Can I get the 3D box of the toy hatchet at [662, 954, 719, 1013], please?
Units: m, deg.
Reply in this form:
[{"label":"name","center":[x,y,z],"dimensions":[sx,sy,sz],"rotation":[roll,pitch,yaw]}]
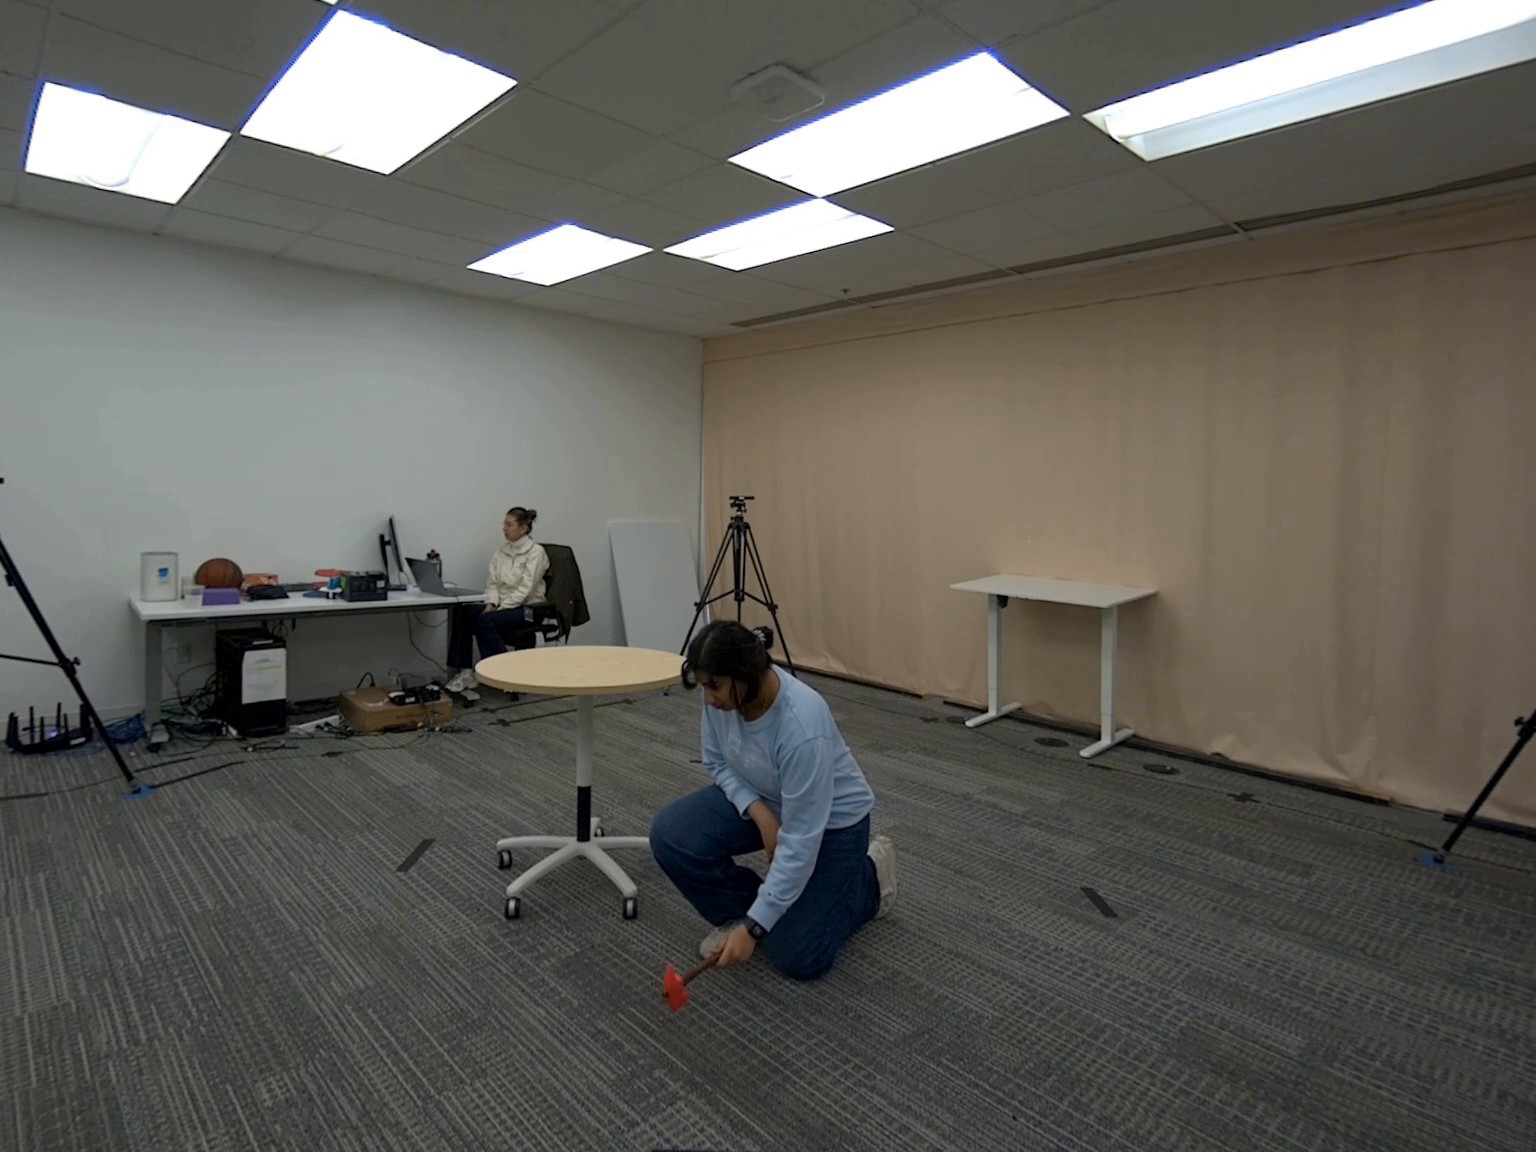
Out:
[{"label":"toy hatchet","center":[-0.176,1.022,2.114],"dimensions":[0.263,0.131,0.030],"rotation":[9,1,-44]}]
